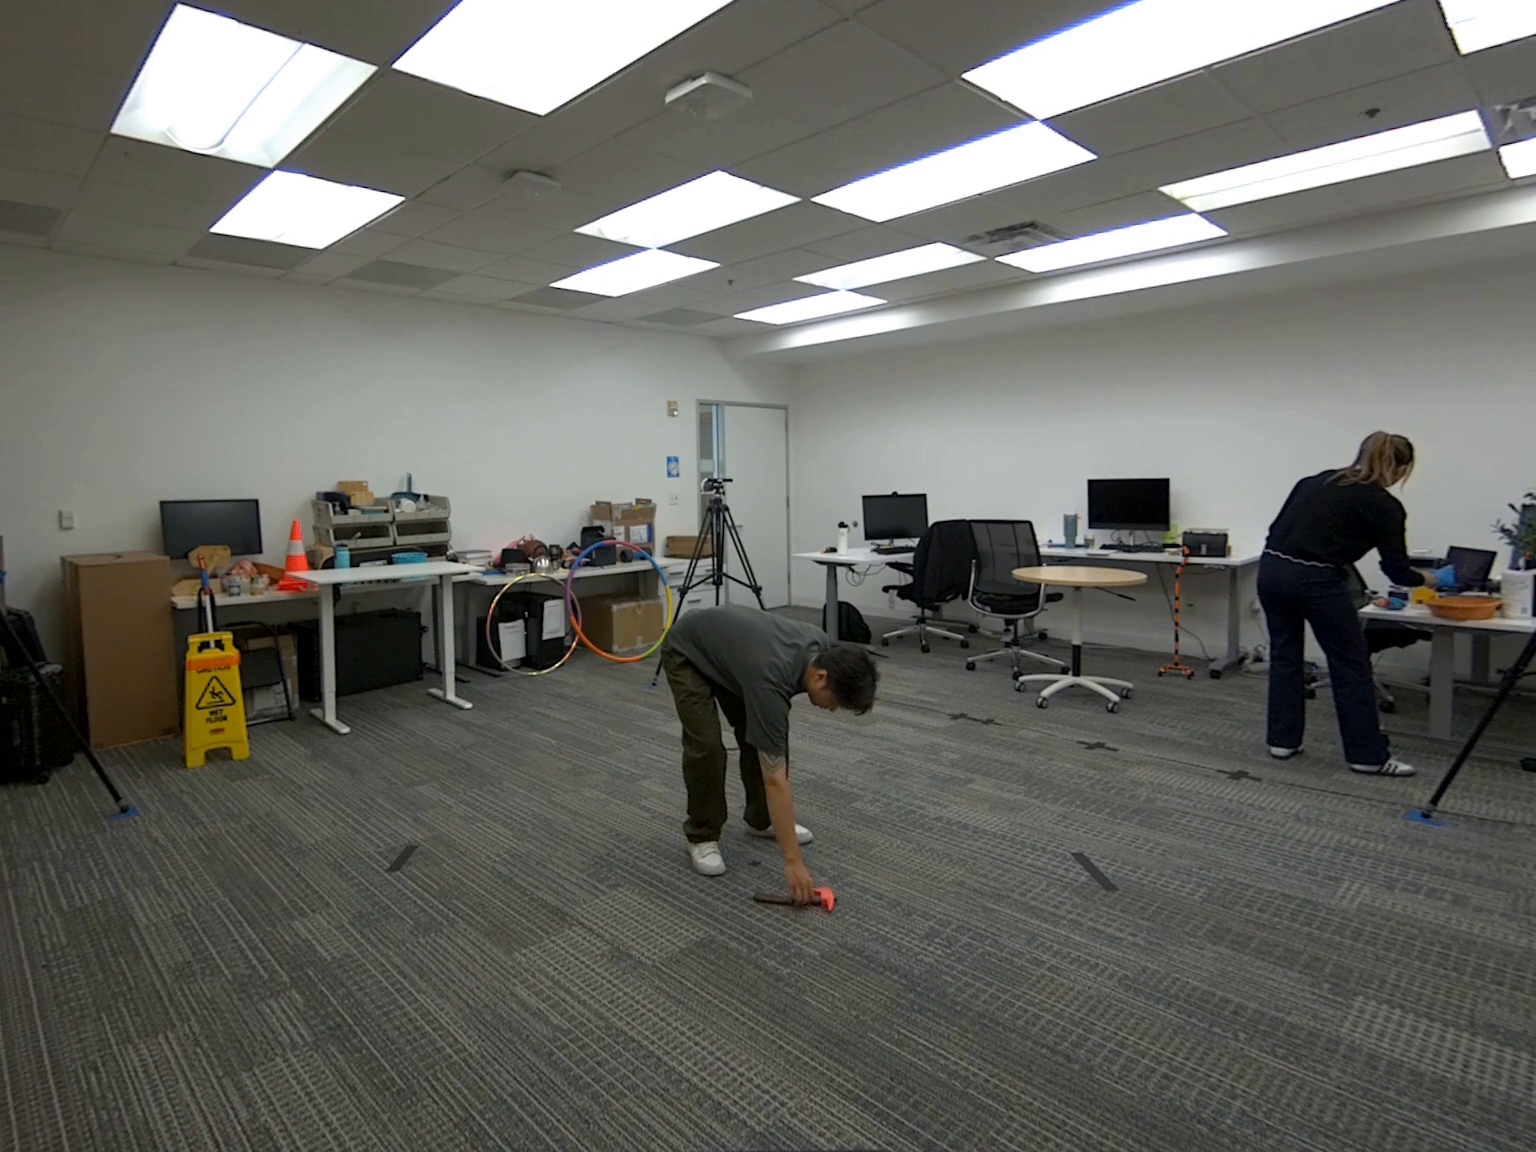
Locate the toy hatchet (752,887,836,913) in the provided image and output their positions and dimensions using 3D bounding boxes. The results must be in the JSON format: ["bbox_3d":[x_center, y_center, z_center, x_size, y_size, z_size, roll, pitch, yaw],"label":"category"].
[{"bbox_3d":[0.099,1.059,2.838,0.275,0.029,0.130,0,9,19],"label":"toy hatchet"}]
